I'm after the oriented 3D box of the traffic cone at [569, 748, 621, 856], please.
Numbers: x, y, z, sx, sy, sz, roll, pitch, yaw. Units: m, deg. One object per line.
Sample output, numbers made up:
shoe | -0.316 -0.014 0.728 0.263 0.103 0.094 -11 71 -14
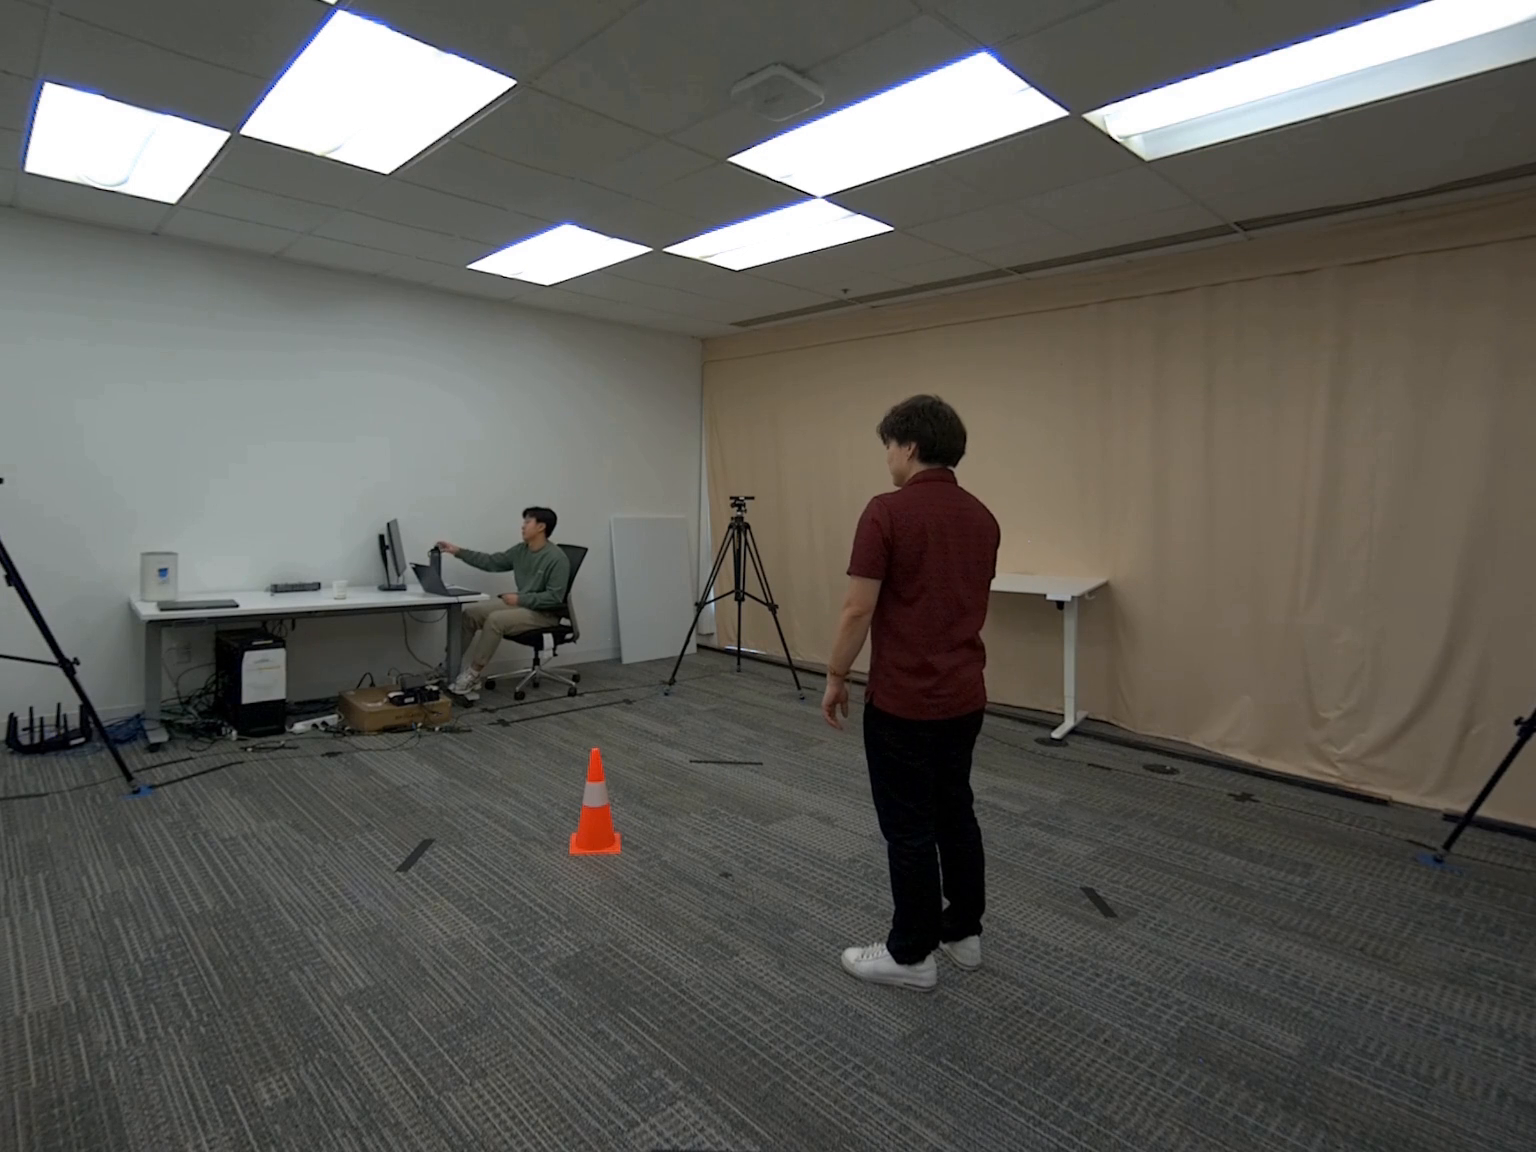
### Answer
traffic cone | -0.704 0.885 3.351 0.204 0.383 0.205 0 3 -8
